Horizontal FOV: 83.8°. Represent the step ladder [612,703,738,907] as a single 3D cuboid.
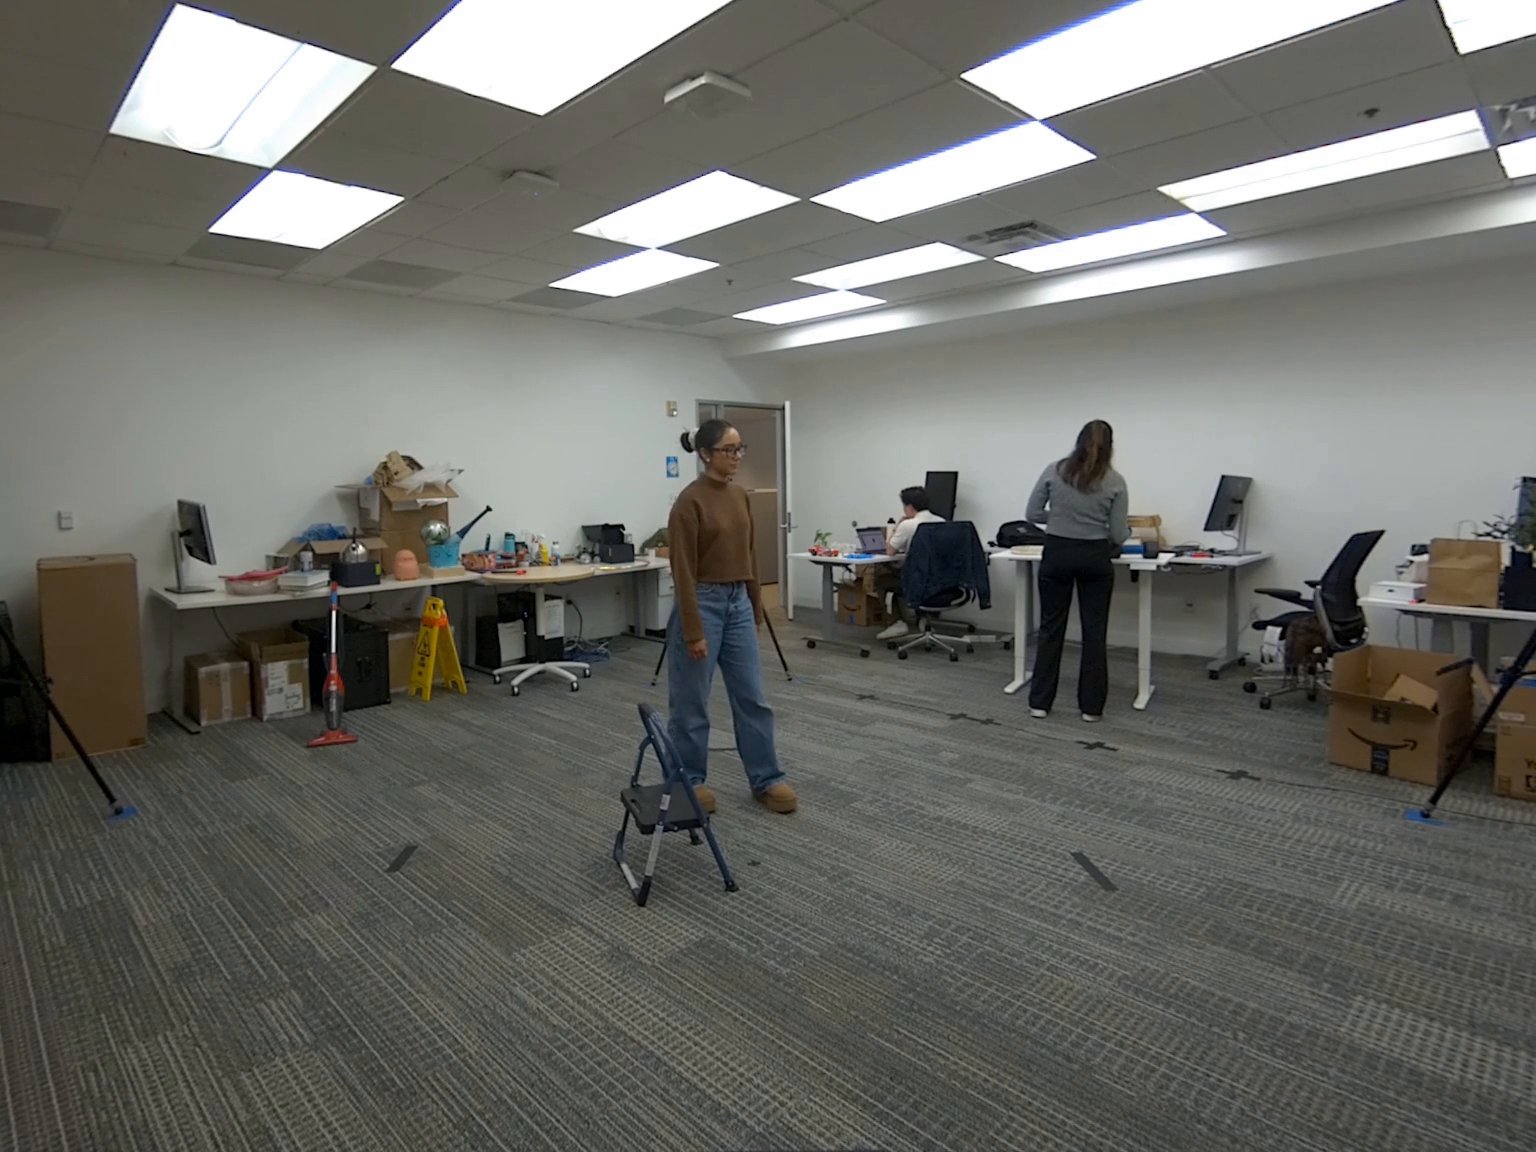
[{"bbox_3d":[-0.347,0.761,3.029,0.343,0.604,0.440,-3,5,-22],"label":"step ladder"}]
